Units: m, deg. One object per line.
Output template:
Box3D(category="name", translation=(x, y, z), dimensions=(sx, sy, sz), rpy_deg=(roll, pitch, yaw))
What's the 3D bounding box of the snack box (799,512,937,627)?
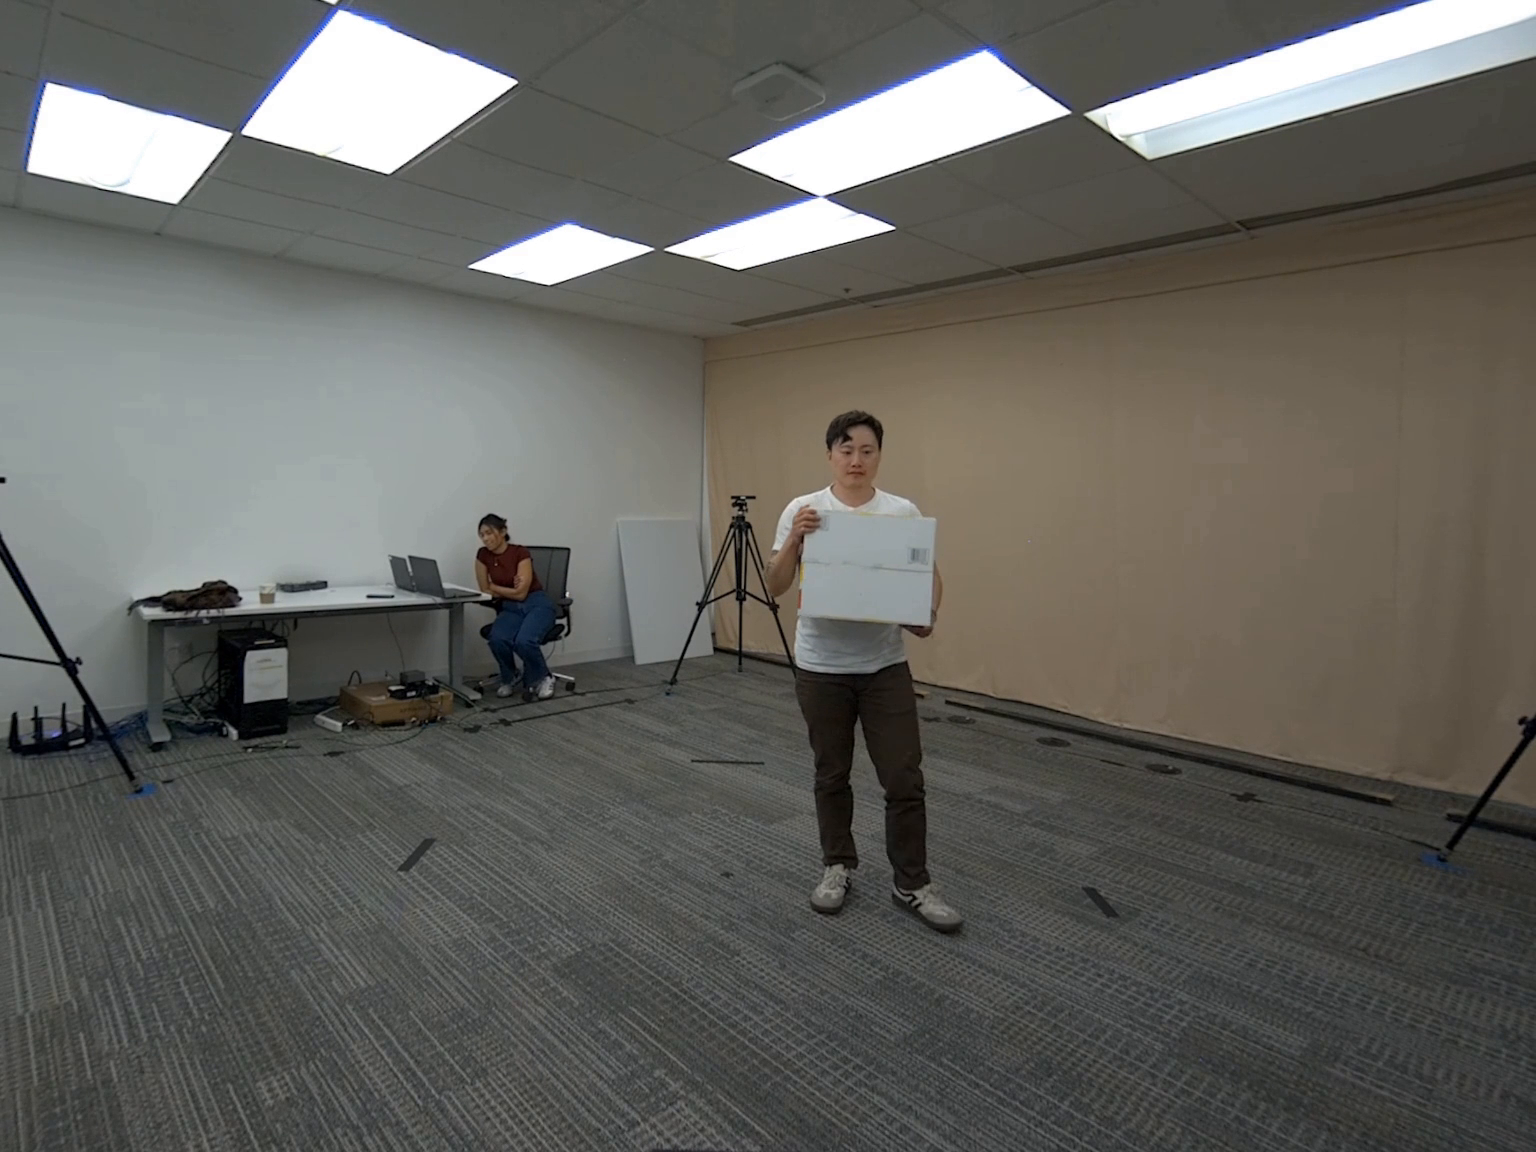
Box3D(category="snack box", translation=(0.300, -0.023, 2.660), dimensions=(0.406, 0.341, 0.204), rpy_deg=(4, -4, 4))
